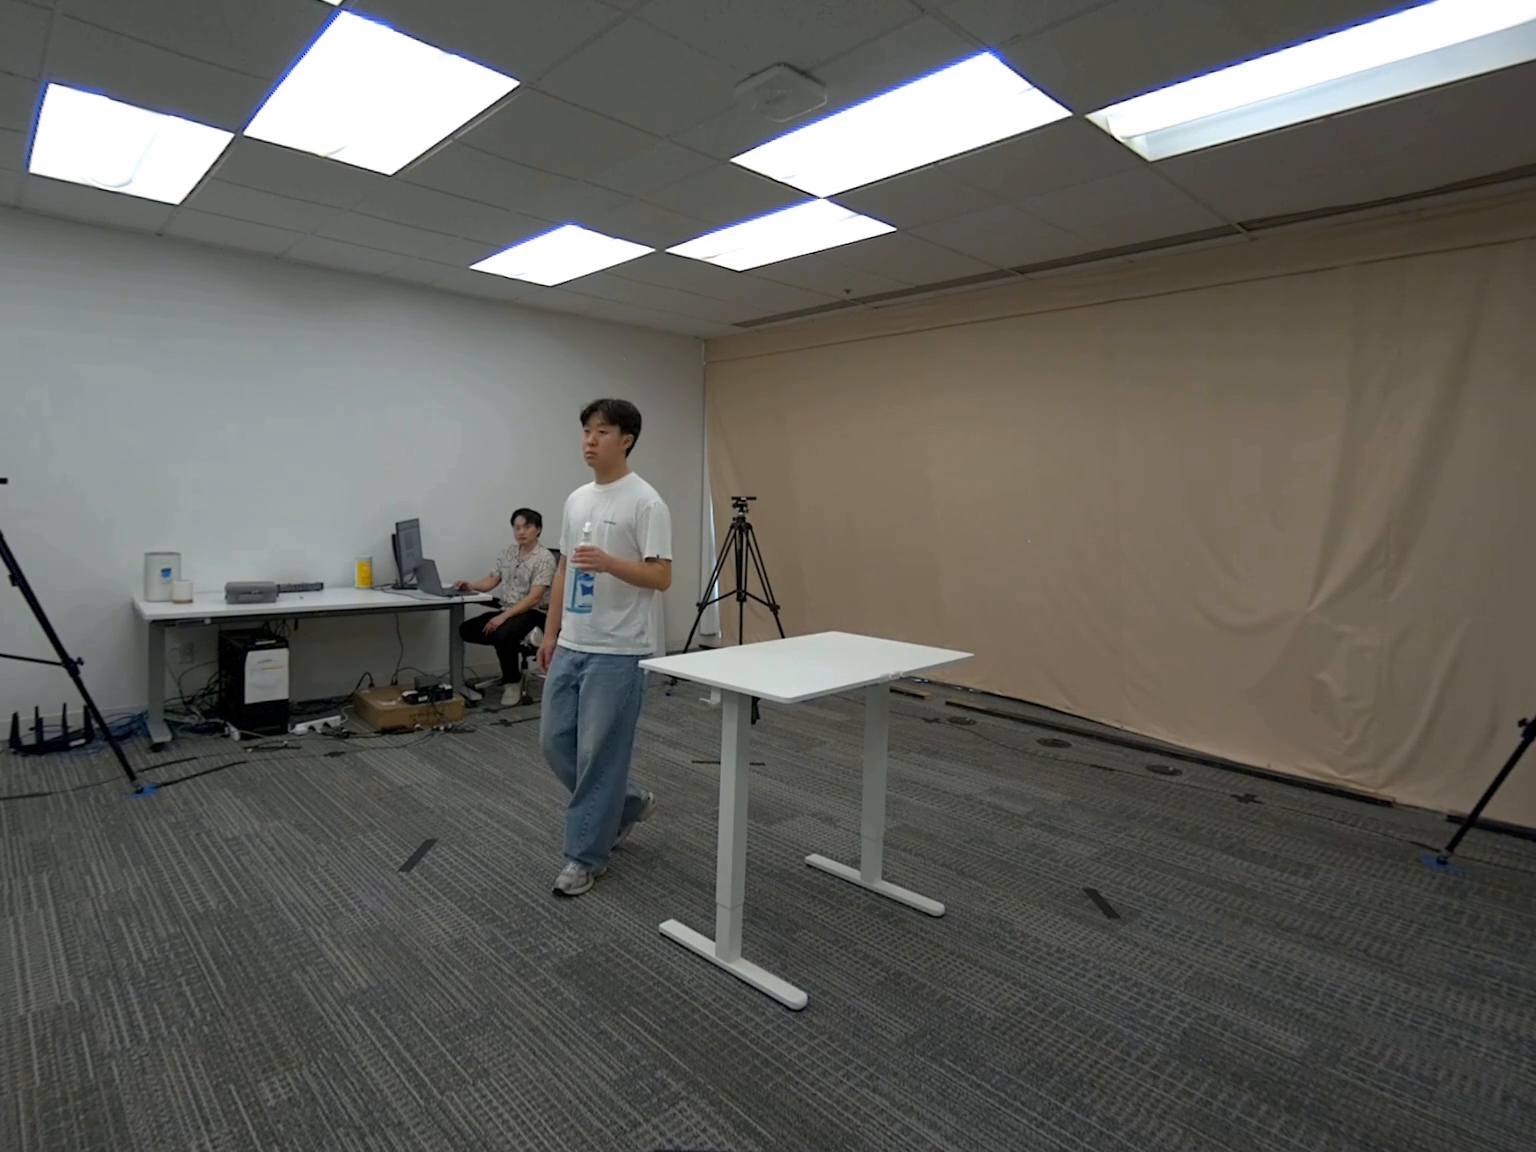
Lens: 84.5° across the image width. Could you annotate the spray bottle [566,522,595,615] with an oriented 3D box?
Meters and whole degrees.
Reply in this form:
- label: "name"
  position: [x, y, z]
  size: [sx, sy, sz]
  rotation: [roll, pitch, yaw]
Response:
- label: "spray bottle"
  position: [-0.613, -0.024, 2.783]
  size: [0.088, 0.297, 0.088]
  rotation: [6, 0, 17]
